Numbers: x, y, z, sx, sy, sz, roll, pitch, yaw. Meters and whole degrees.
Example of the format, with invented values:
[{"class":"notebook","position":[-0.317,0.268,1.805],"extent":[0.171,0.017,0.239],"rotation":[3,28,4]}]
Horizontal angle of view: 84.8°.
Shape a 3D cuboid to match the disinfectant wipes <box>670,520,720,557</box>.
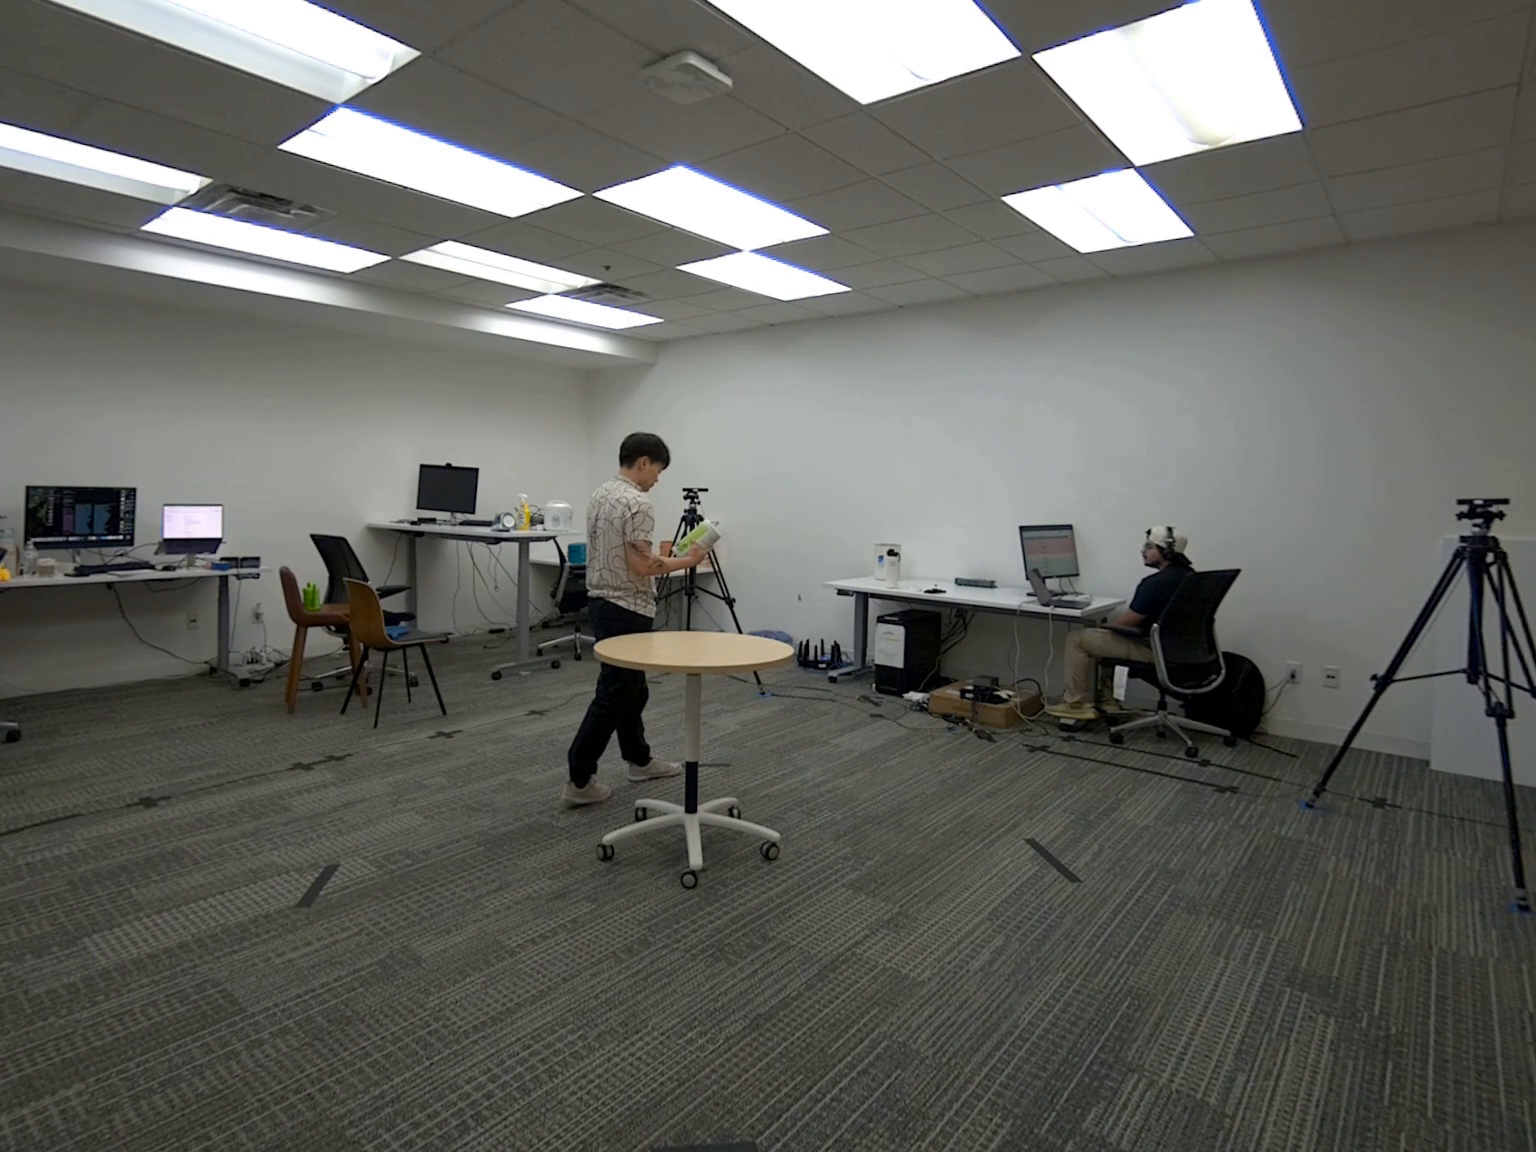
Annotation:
[{"class":"disinfectant wipes","position":[-0.342,-0.158,3.879],"extent":[0.217,0.117,0.118],"rotation":[-39,5,0]}]
